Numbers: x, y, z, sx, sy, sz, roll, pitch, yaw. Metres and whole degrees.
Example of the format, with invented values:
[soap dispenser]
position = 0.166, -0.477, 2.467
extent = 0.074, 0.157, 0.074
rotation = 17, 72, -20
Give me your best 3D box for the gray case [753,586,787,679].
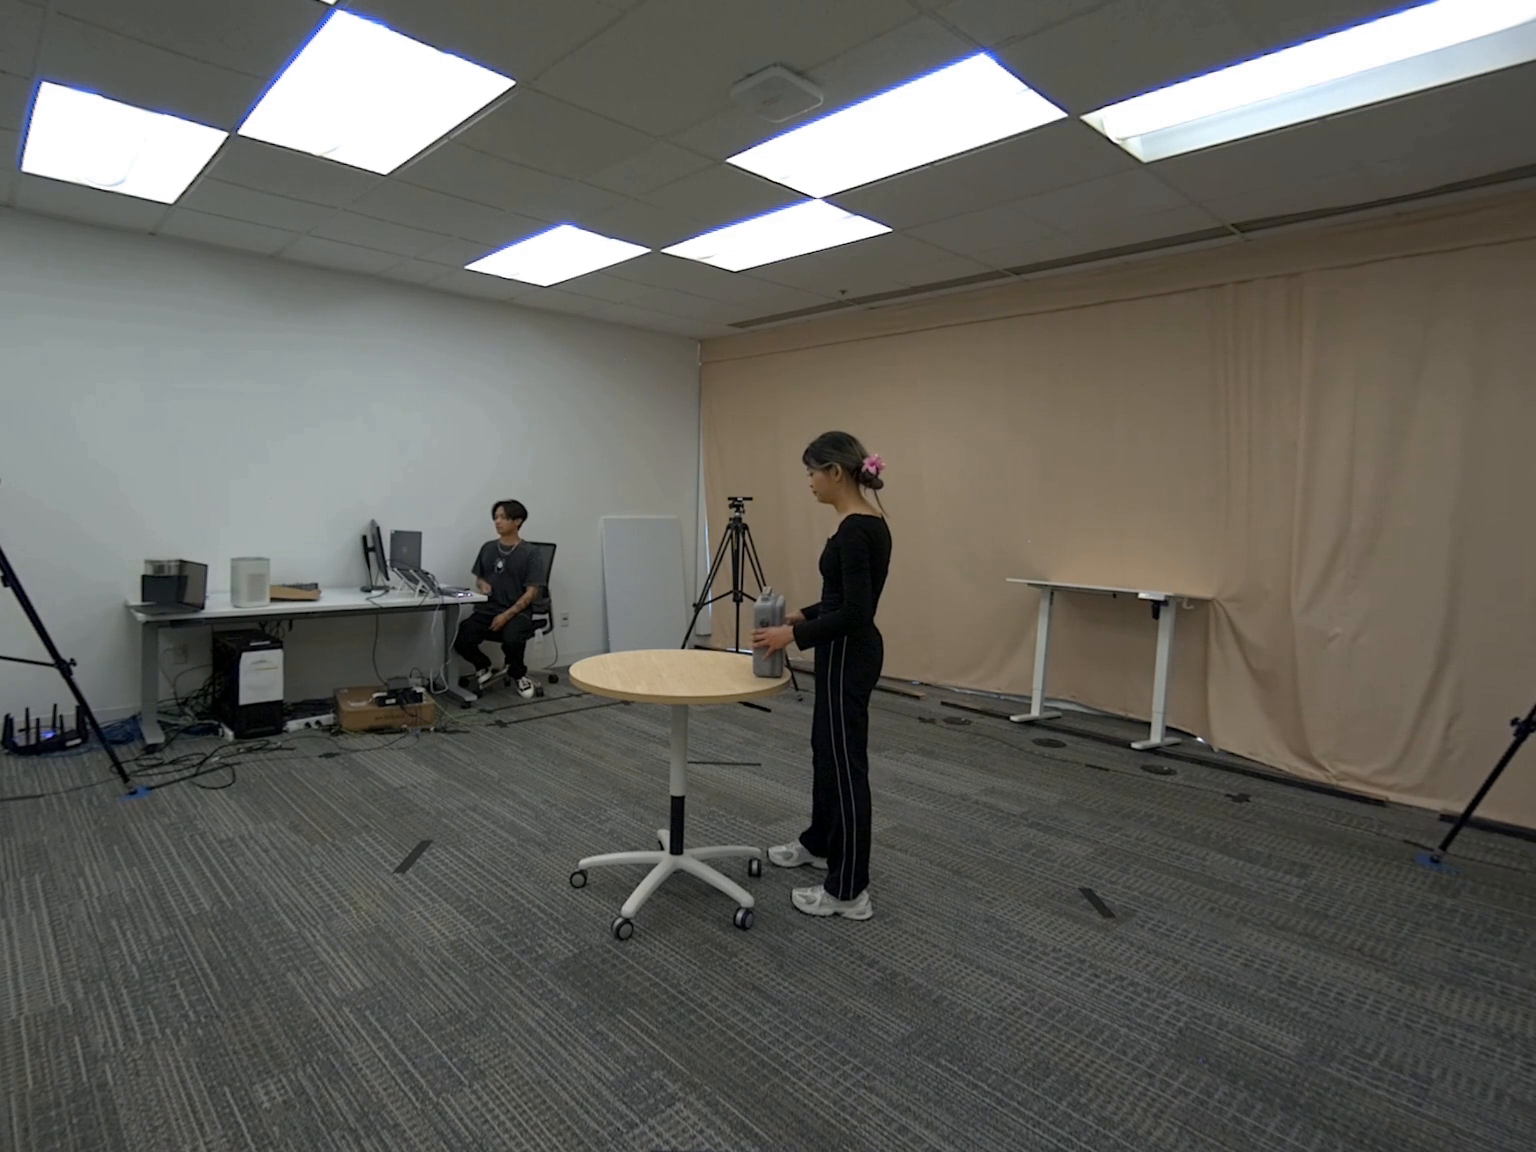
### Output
[gray case]
position = 0.000, 0.202, 2.928
extent = 0.105, 0.259, 0.256
rotation = 0, 6, 6
